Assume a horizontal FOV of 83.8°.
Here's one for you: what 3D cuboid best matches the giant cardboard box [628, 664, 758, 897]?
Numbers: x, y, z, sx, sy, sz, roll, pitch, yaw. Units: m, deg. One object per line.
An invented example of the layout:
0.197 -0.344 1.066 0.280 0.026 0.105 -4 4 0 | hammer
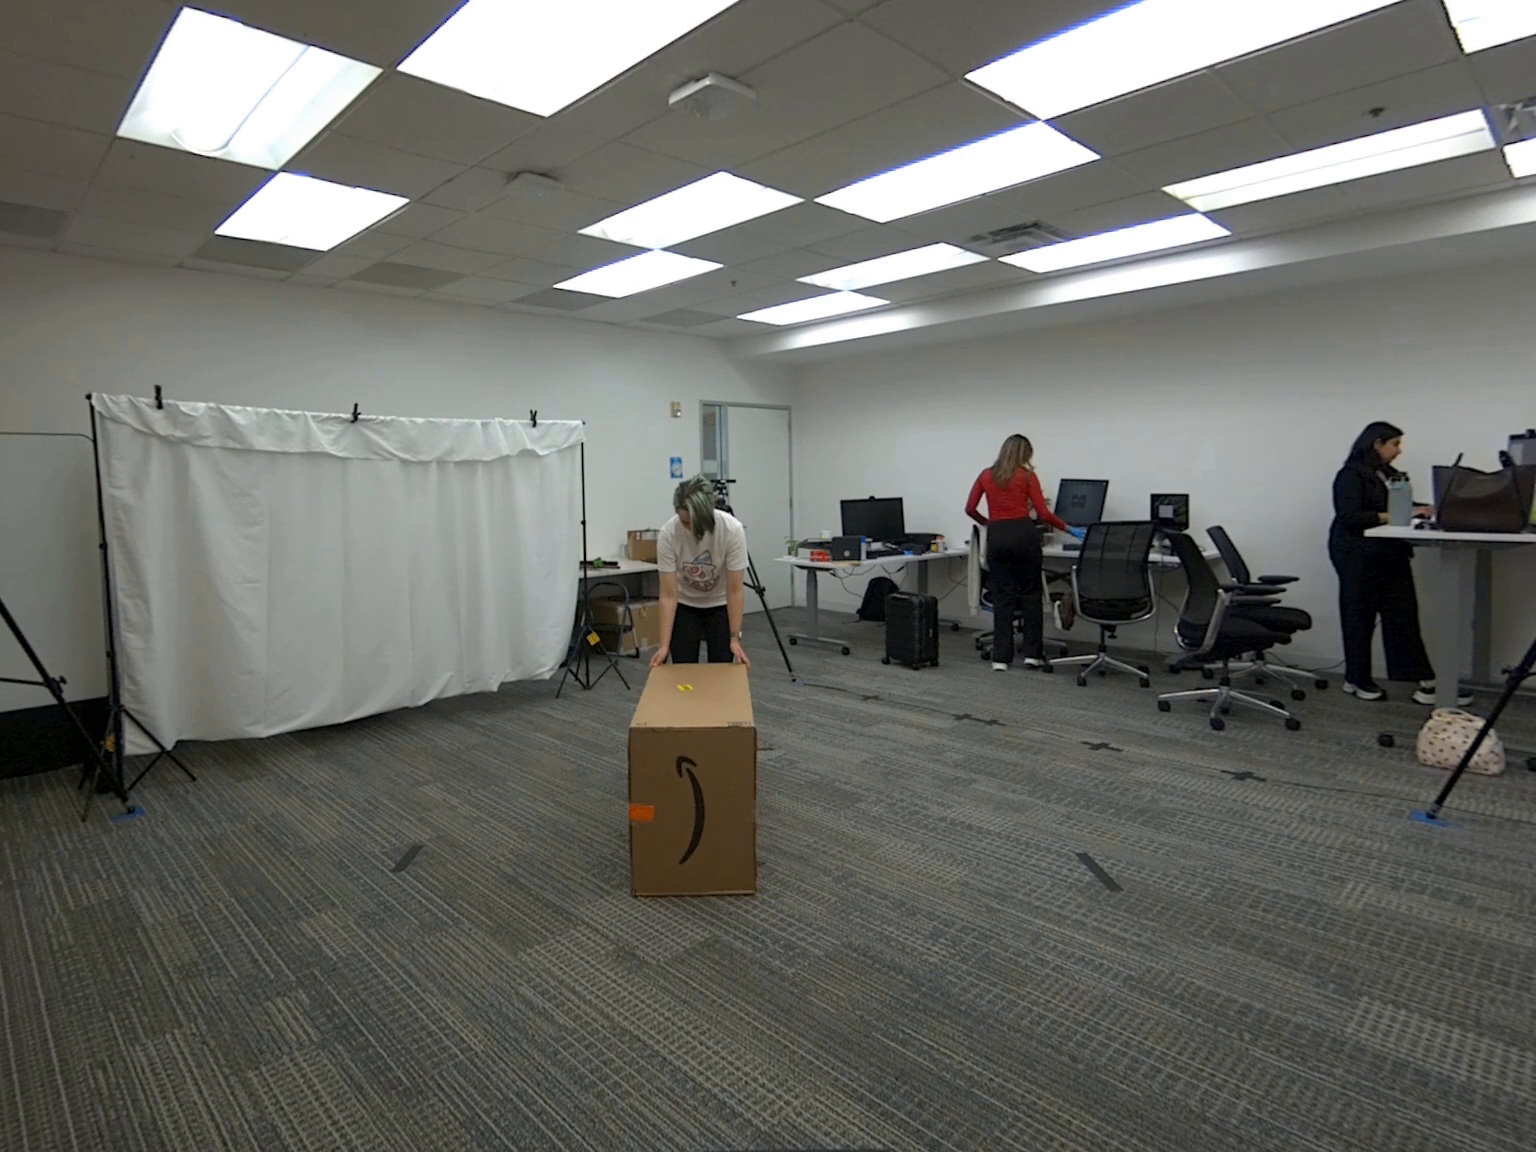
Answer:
-0.284 0.735 3.366 0.446 0.582 1.033 -2 5 -3 | giant cardboard box
